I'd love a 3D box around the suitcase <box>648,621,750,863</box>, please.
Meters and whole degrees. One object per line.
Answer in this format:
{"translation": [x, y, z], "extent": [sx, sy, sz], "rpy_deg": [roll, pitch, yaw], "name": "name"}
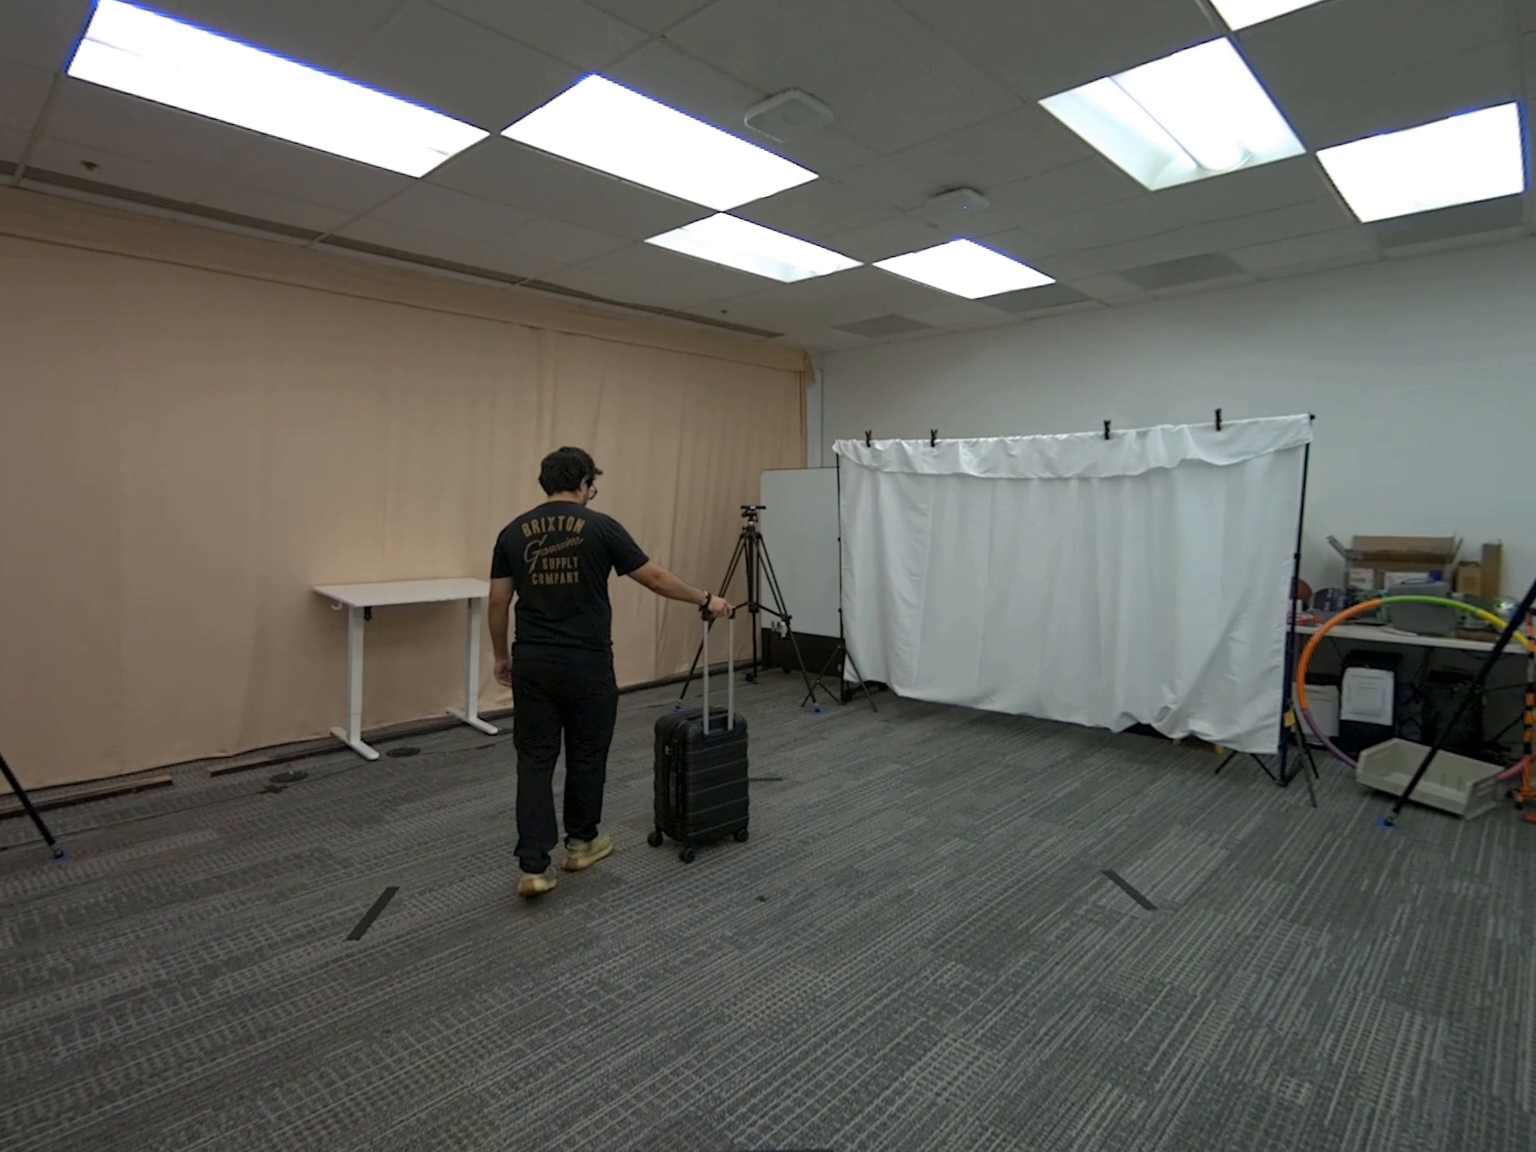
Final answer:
{"translation": [-0.279, 0.627, 3.481], "extent": [0.372, 0.978, 0.265], "rpy_deg": [-1, 1, -42], "name": "suitcase"}
